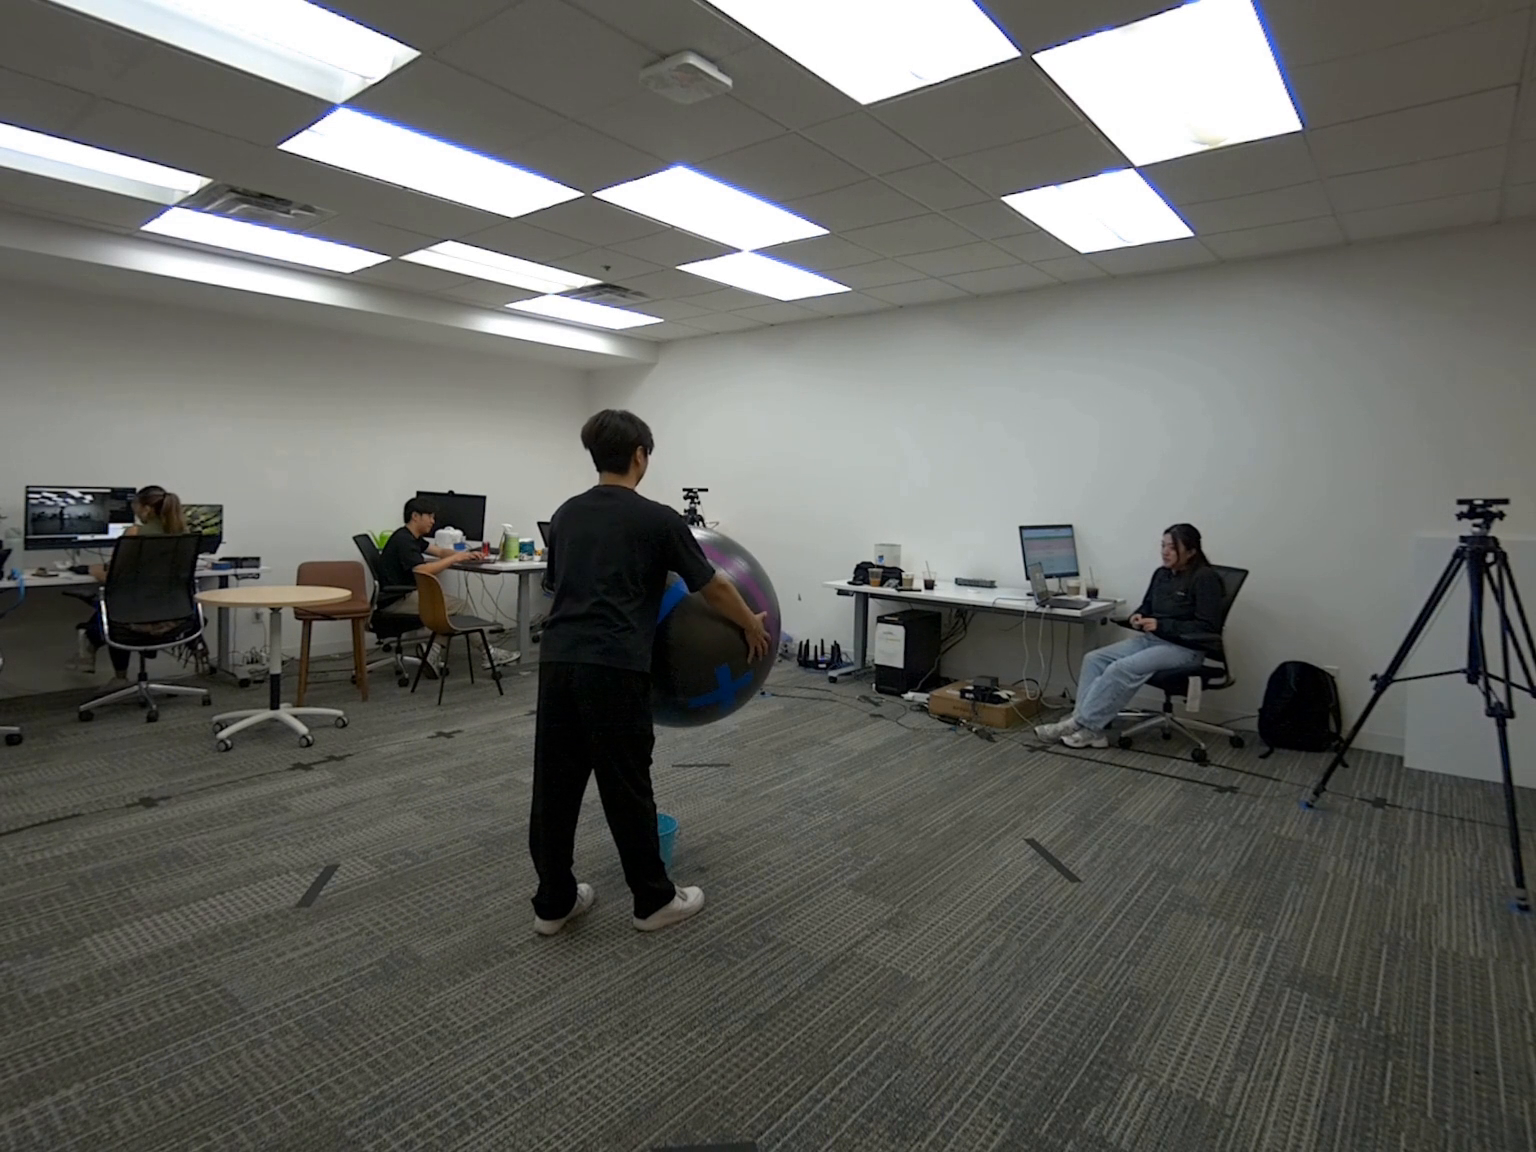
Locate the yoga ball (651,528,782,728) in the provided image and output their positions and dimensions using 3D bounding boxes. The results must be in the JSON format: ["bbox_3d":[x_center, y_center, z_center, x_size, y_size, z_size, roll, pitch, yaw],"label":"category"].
[{"bbox_3d":[-0.334,0.191,3.222,0.757,0.756,0.761,1,4,-2],"label":"yoga ball"}]
